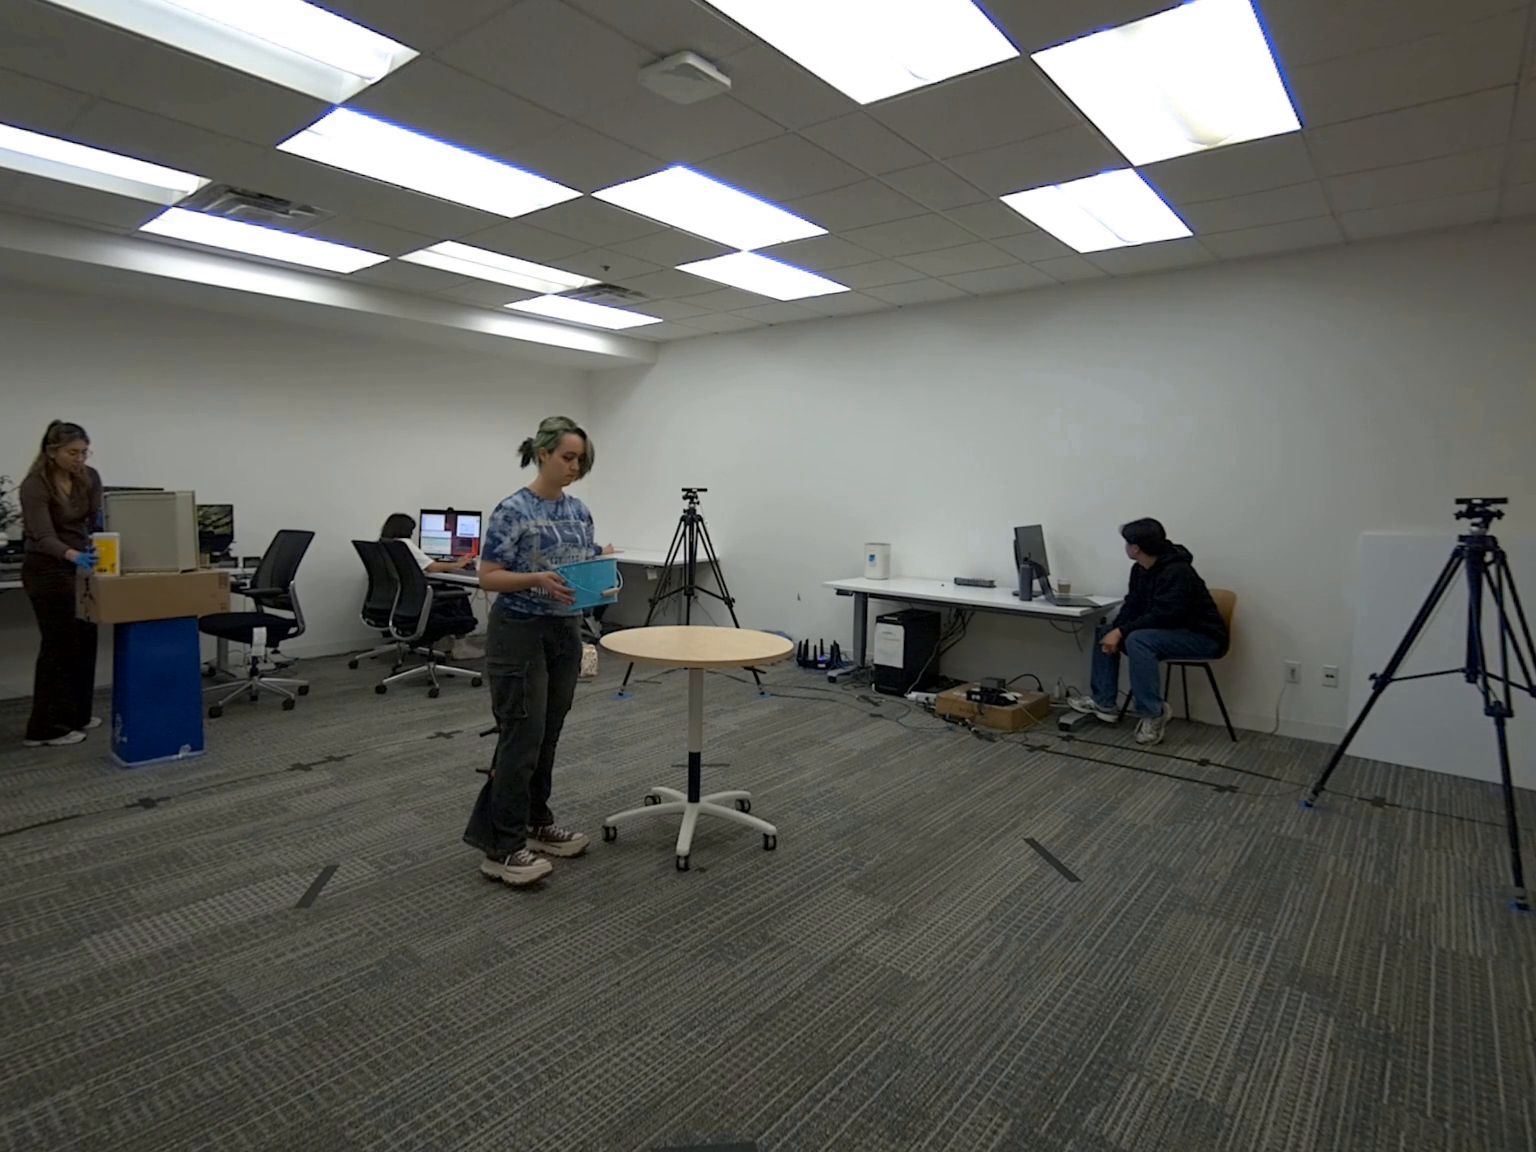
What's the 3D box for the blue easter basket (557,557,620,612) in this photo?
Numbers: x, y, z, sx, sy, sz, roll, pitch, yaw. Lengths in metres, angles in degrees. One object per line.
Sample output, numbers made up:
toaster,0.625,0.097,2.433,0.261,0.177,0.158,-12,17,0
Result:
blue easter basket,-0.654,0.033,2.994,0.243,0.157,0.242,-8,-6,-3
